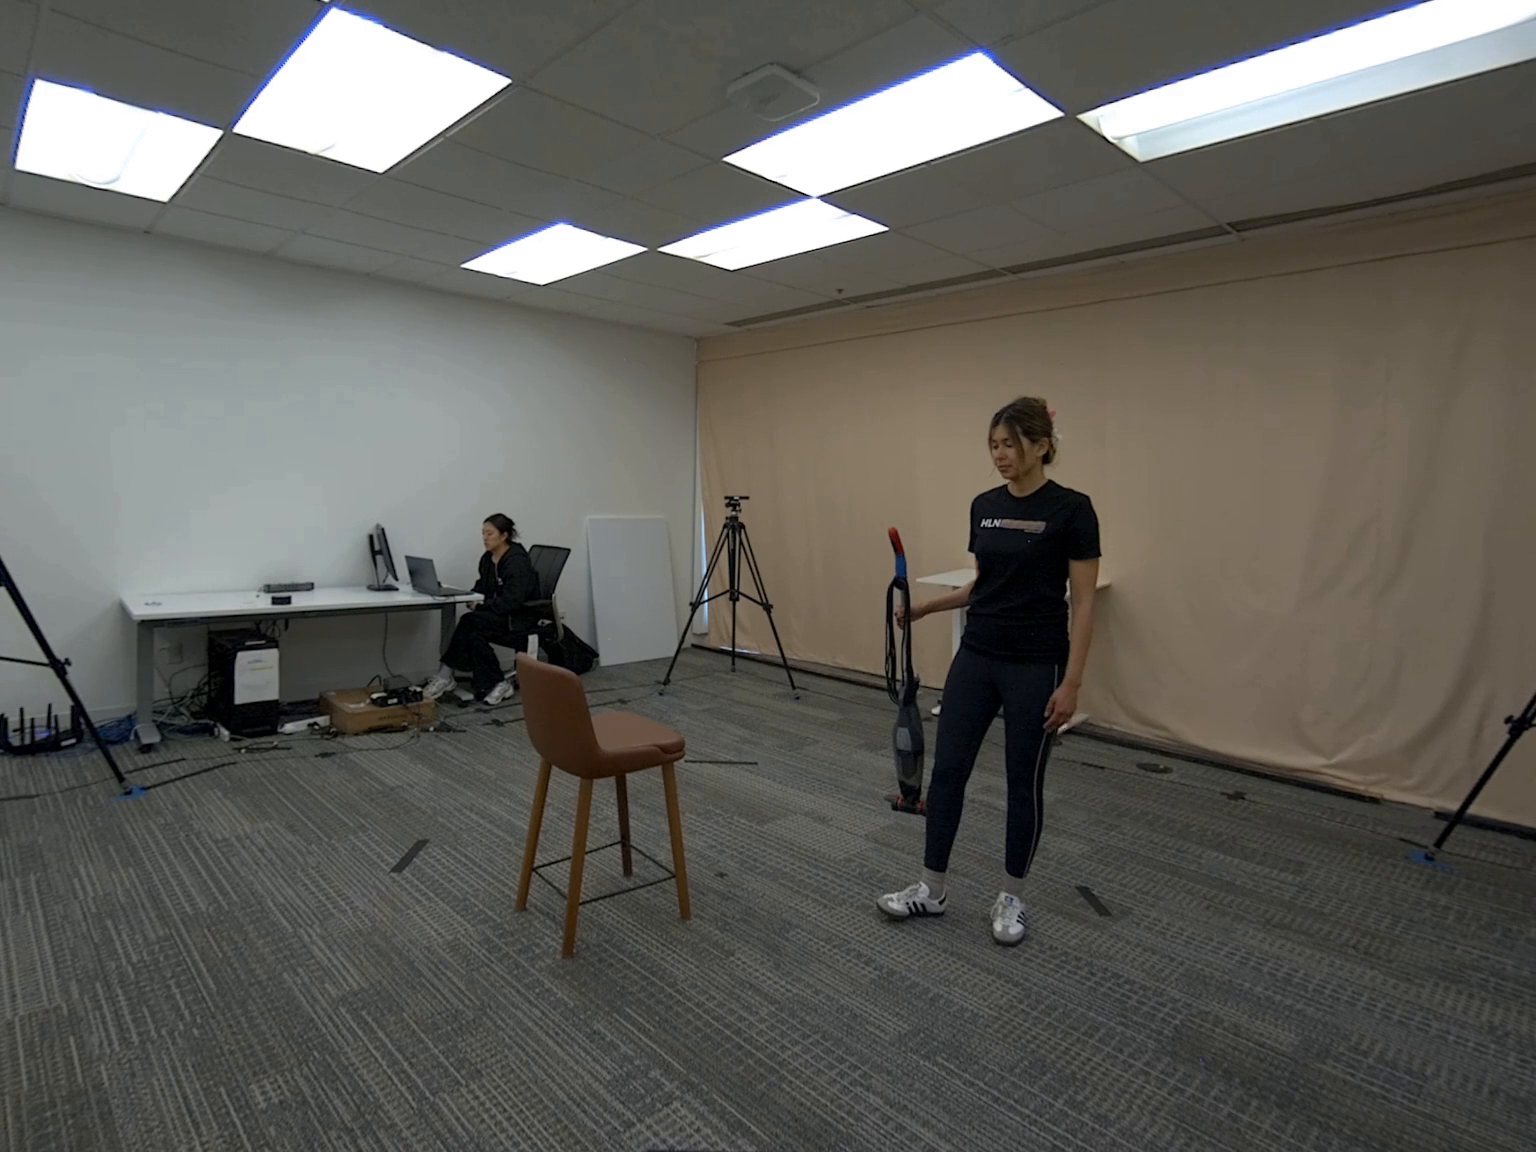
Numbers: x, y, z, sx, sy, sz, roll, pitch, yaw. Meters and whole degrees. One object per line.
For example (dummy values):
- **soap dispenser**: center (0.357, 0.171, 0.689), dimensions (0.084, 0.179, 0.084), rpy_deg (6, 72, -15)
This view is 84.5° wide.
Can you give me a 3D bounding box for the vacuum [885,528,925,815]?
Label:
- **vacuum**: center (0.453, 0.349, 2.888), dimensions (0.258, 1.036, 0.142), rpy_deg (2, 18, 34)
